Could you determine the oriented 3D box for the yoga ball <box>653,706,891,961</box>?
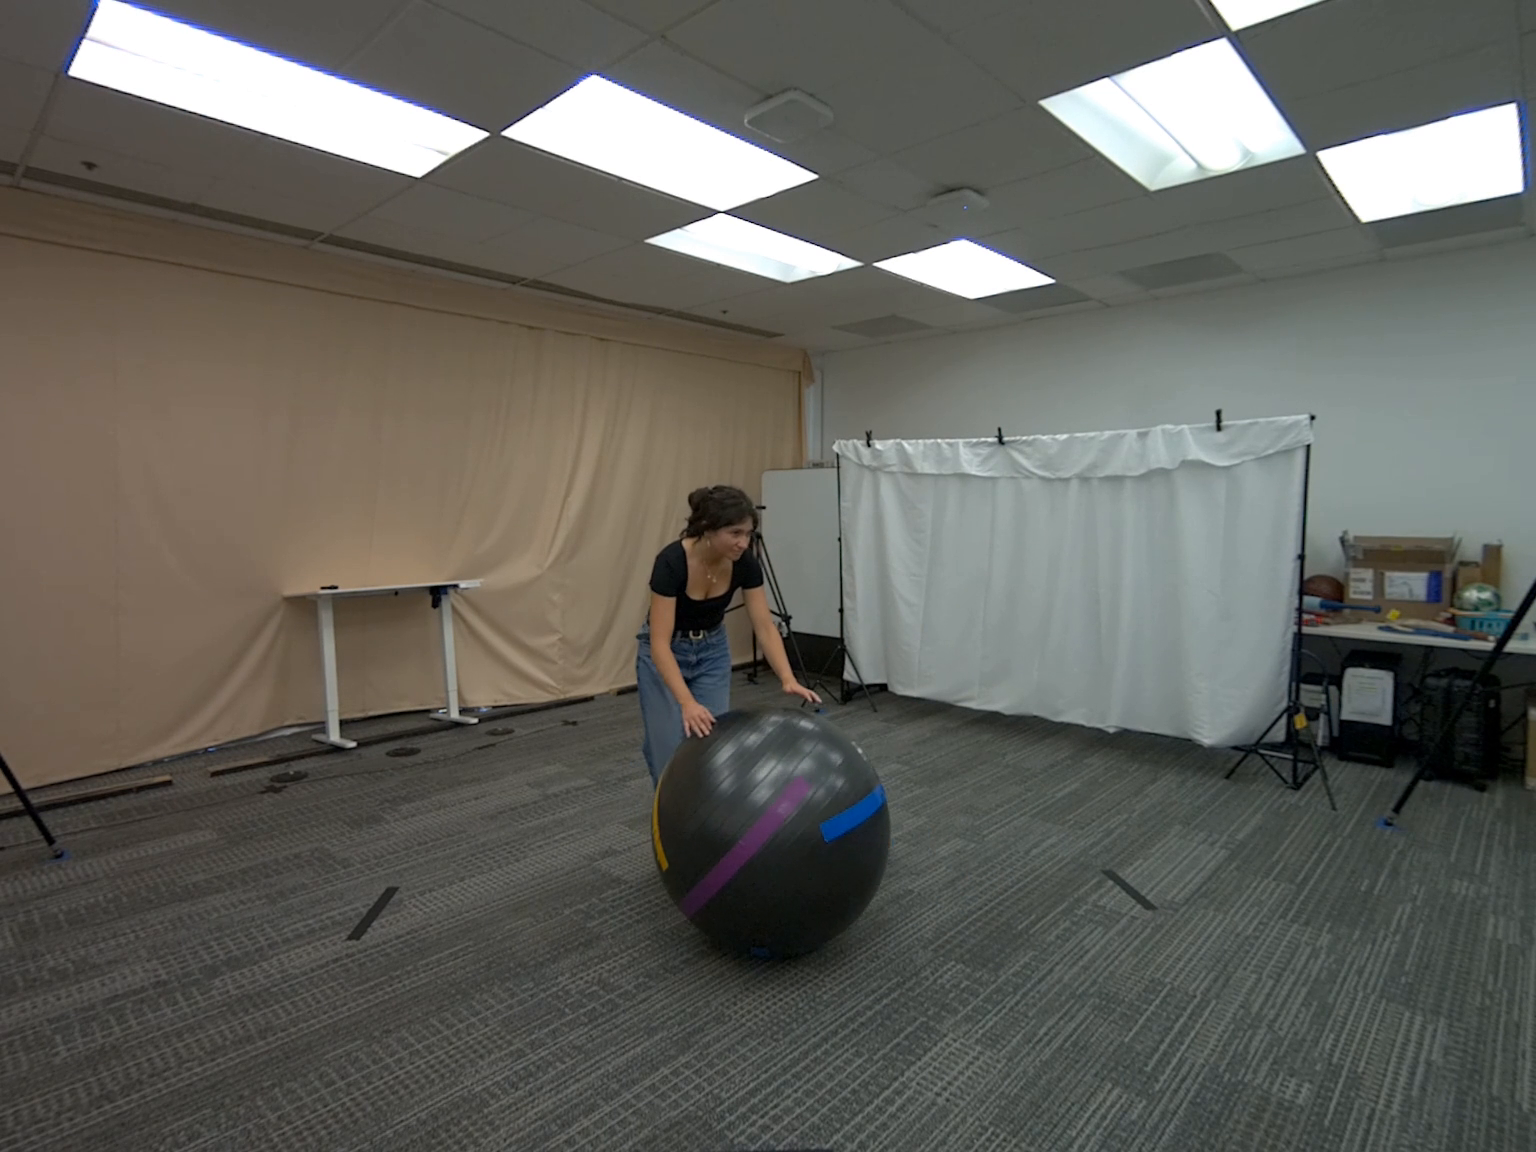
[{"bbox_3d":[0.013,0.797,2.686,0.757,0.756,0.760,0,4,-2],"label":"yoga ball"}]
